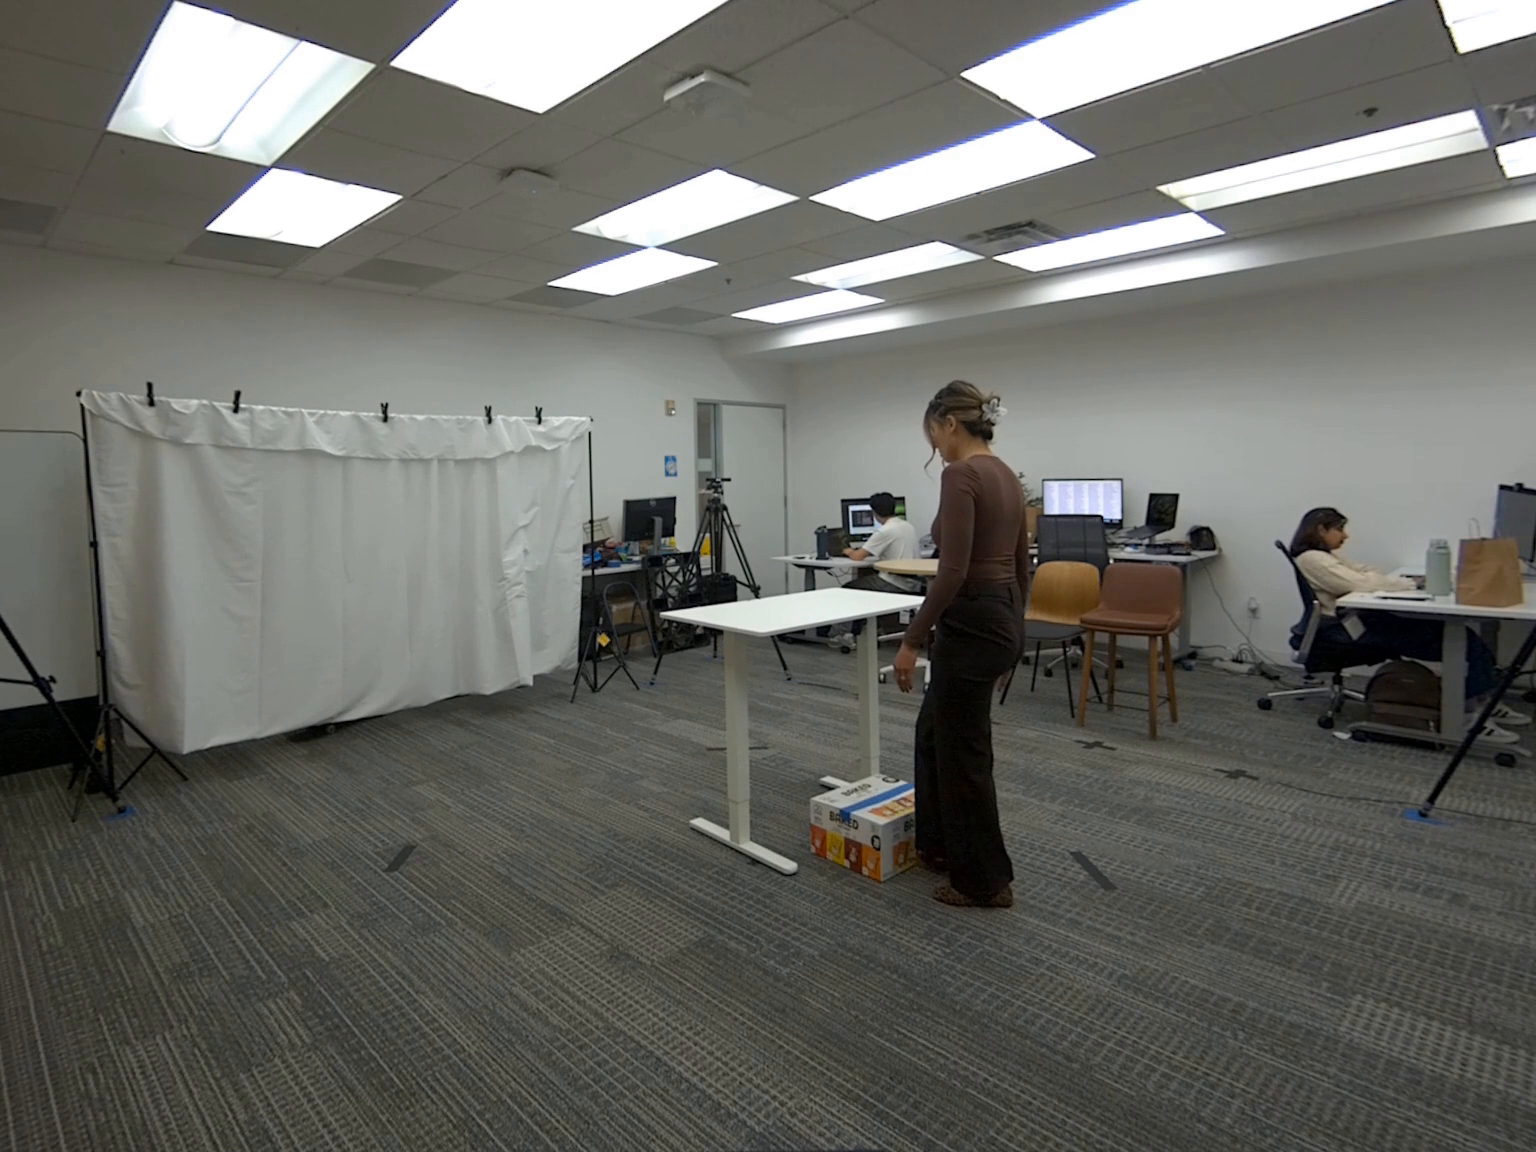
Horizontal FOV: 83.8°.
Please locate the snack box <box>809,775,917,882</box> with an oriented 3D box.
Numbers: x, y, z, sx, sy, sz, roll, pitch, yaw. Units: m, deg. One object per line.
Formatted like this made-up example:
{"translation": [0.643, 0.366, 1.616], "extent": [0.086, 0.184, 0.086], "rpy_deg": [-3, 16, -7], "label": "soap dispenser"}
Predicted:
{"translation": [0.419, 0.925, 3.183], "extent": [0.395, 0.205, 0.351], "rpy_deg": [-7, 8, -42], "label": "snack box"}
